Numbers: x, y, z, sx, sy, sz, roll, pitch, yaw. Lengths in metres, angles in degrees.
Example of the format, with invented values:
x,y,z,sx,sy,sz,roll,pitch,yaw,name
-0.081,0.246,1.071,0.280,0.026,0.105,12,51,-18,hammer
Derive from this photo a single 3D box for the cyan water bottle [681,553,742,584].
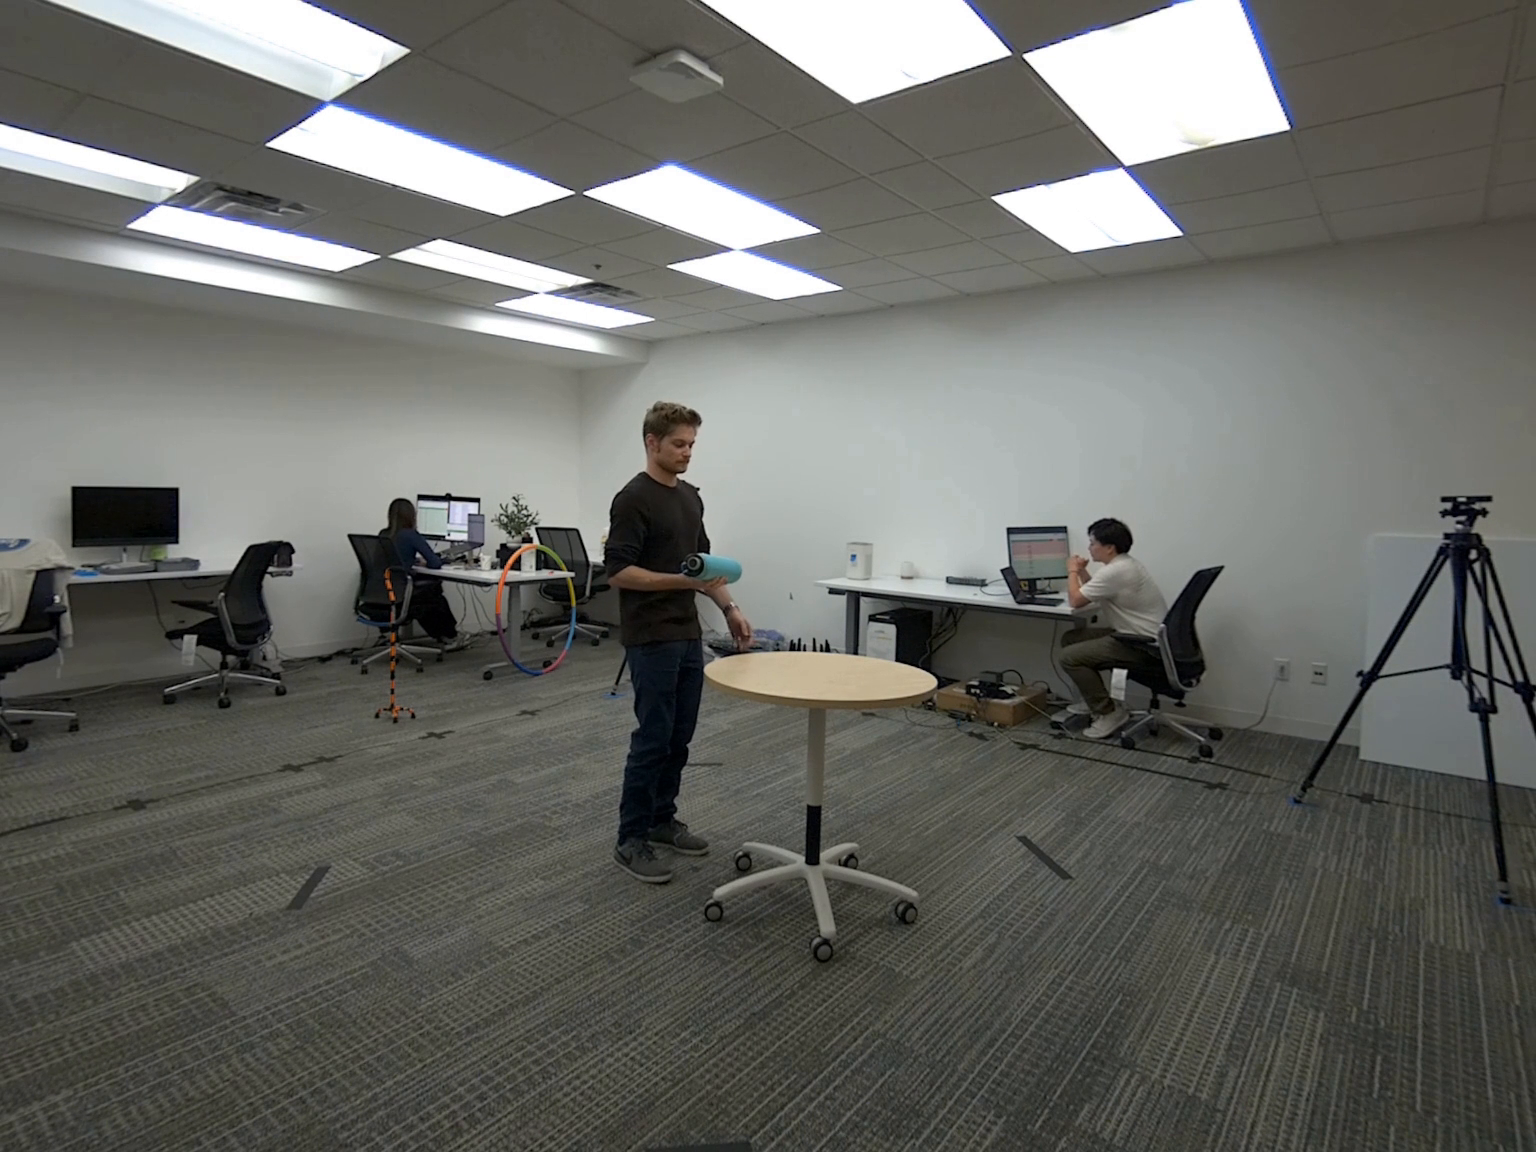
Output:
x,y,z,sx,sy,sz,roll,pitch,yaw,name
-0.212,-0.028,2.927,0.095,0.092,0.275,3,-2,28,cyan water bottle
